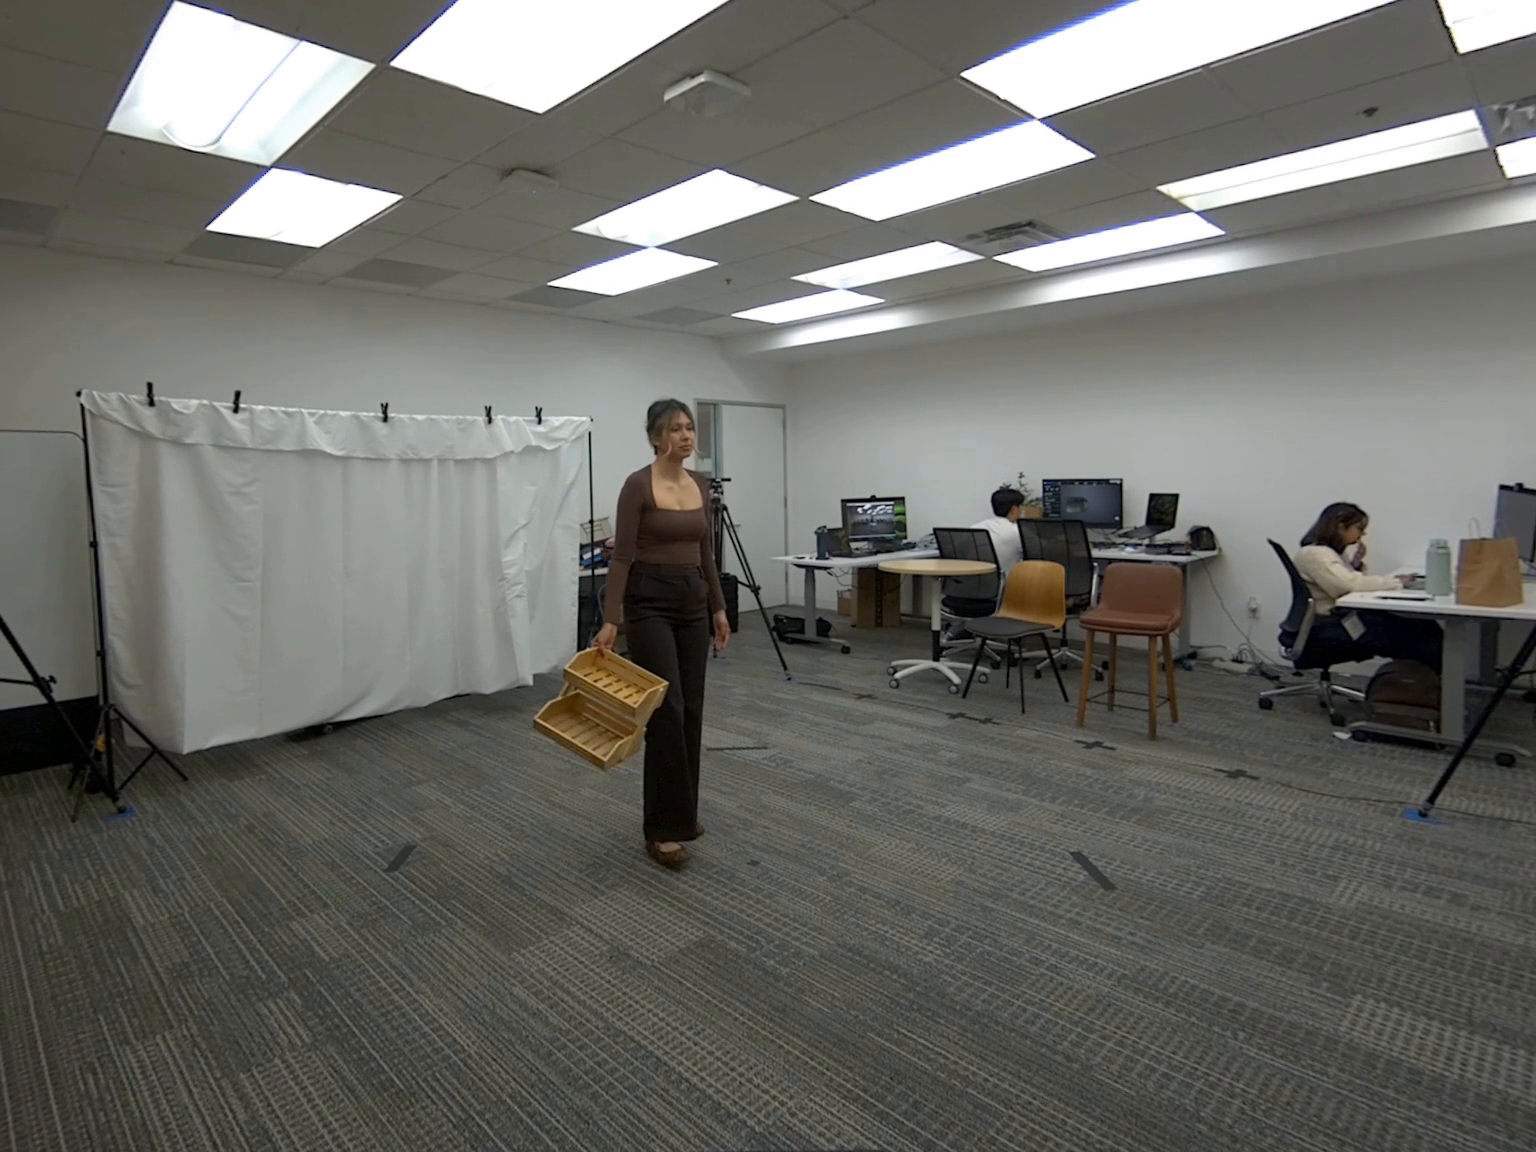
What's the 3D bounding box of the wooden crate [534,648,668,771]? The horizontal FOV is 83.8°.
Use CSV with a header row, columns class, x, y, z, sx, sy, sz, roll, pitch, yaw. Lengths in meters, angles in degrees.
class,x,y,z,sx,sy,sz,roll,pitch,yaw
wooden crate,-0.566,0.442,2.927,0.331,0.272,0.297,24,12,17
